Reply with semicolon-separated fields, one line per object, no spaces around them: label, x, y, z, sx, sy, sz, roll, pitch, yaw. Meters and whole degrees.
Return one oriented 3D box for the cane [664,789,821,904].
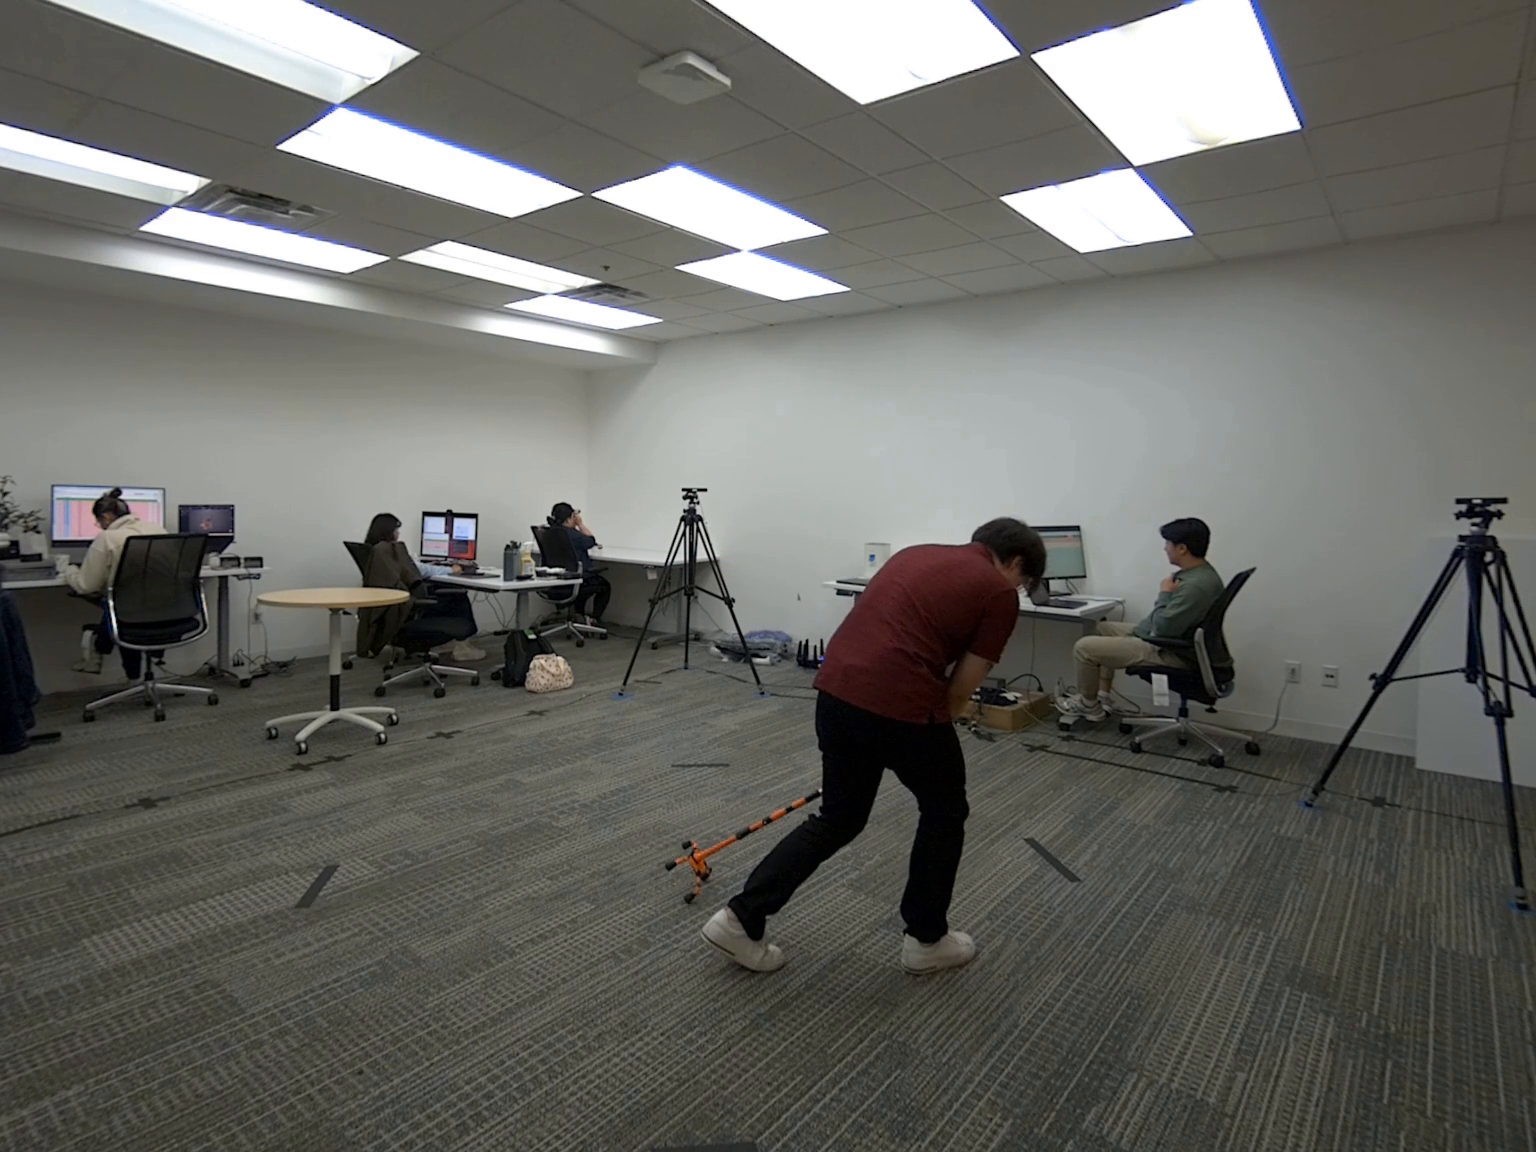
cane;0.065;0.783;2.843;0.912;0.153;0.204;-32;-3;14
